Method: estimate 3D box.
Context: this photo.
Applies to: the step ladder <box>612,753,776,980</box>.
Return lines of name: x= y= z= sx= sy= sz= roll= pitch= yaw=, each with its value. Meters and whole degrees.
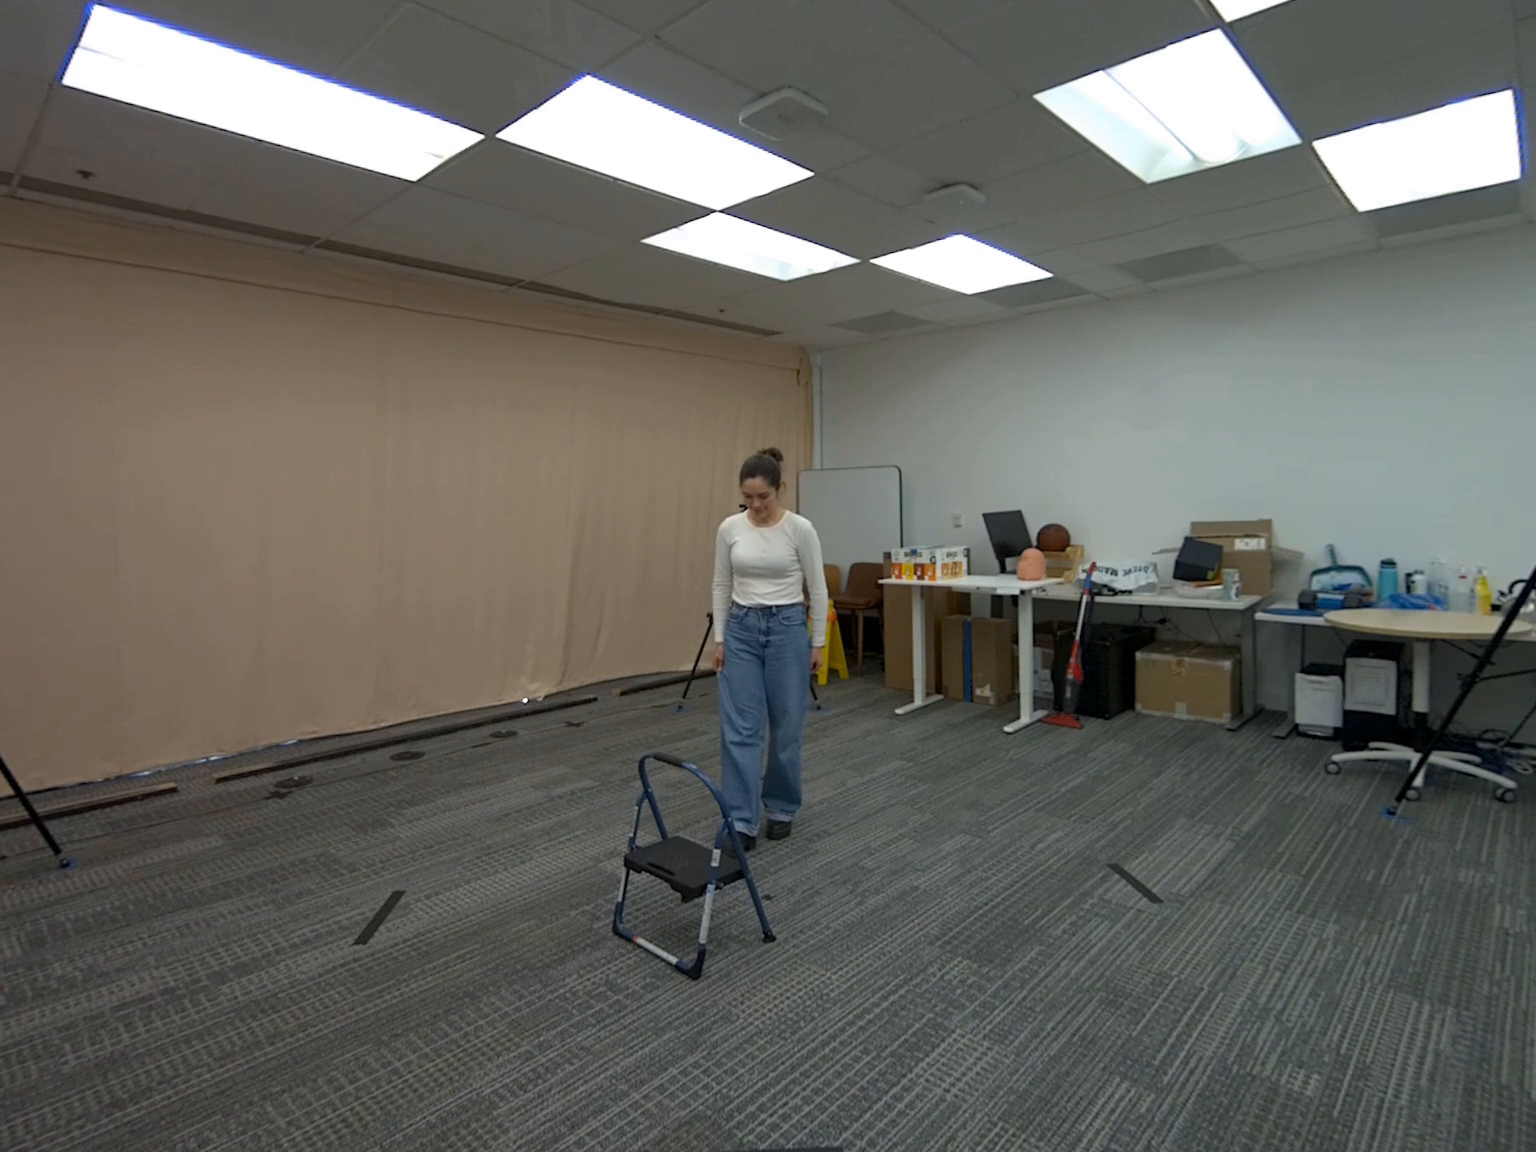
step ladder: x=-0.255 y=0.864 z=2.712 sx=0.445 sy=0.605 sz=0.338 roll=2 pitch=4 yaw=44
